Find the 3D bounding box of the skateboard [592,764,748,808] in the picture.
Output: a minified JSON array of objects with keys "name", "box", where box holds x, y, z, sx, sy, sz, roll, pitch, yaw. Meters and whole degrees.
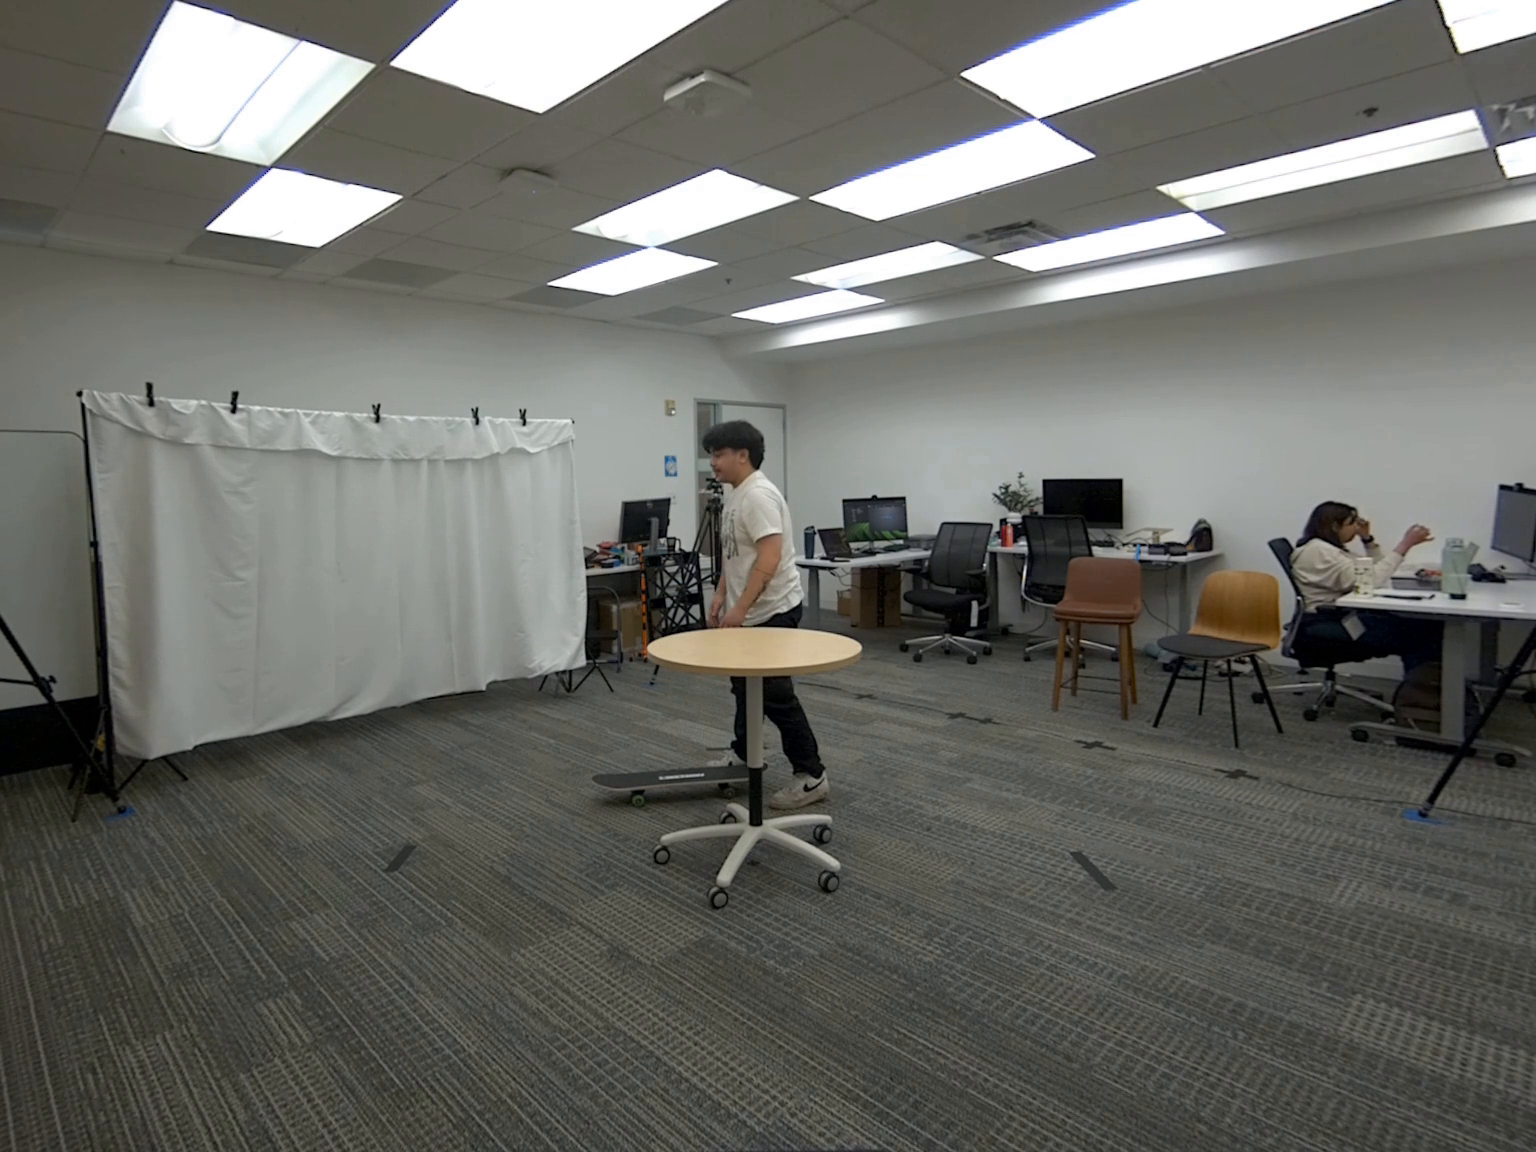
[{"name":"skateboard","box":[-0.382,0.916,3.774,0.778,0.110,0.196,-2,6,-9]}]
